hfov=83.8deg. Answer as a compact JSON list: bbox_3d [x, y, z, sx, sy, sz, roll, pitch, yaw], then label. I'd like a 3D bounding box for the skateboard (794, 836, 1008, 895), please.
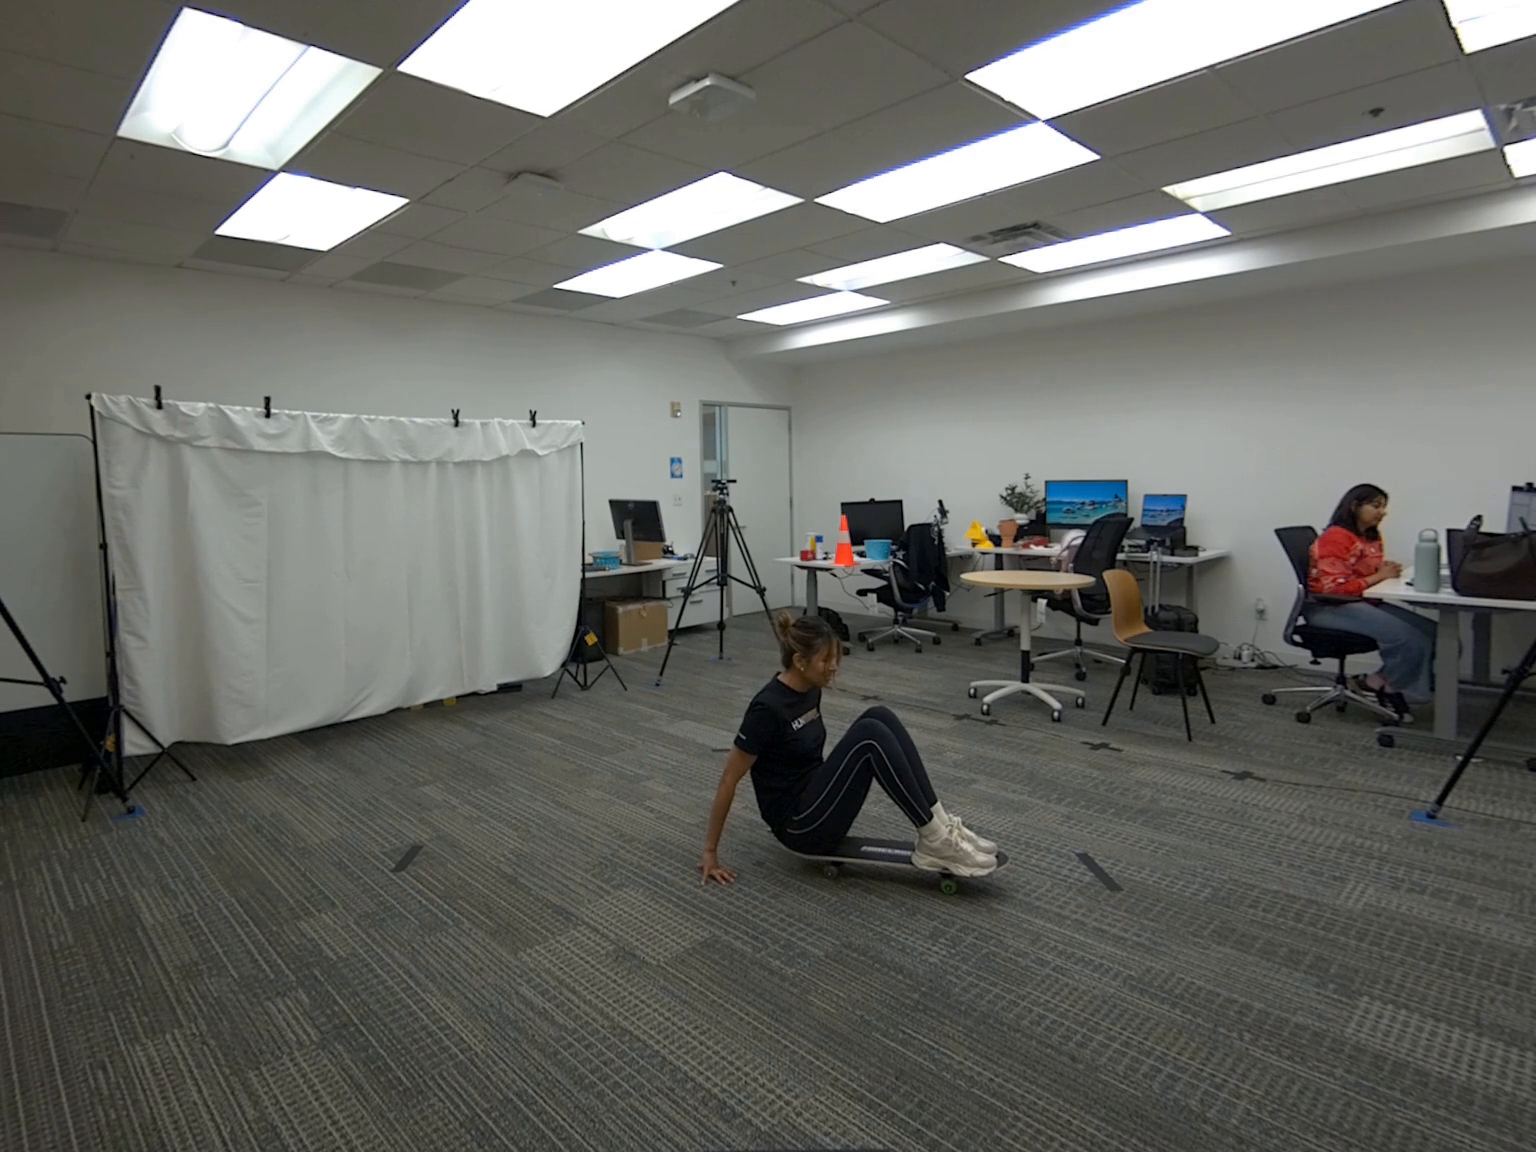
[{"bbox_3d":[0.424,0.999,2.986,0.799,0.110,0.191,0,8,18],"label":"skateboard"}]
